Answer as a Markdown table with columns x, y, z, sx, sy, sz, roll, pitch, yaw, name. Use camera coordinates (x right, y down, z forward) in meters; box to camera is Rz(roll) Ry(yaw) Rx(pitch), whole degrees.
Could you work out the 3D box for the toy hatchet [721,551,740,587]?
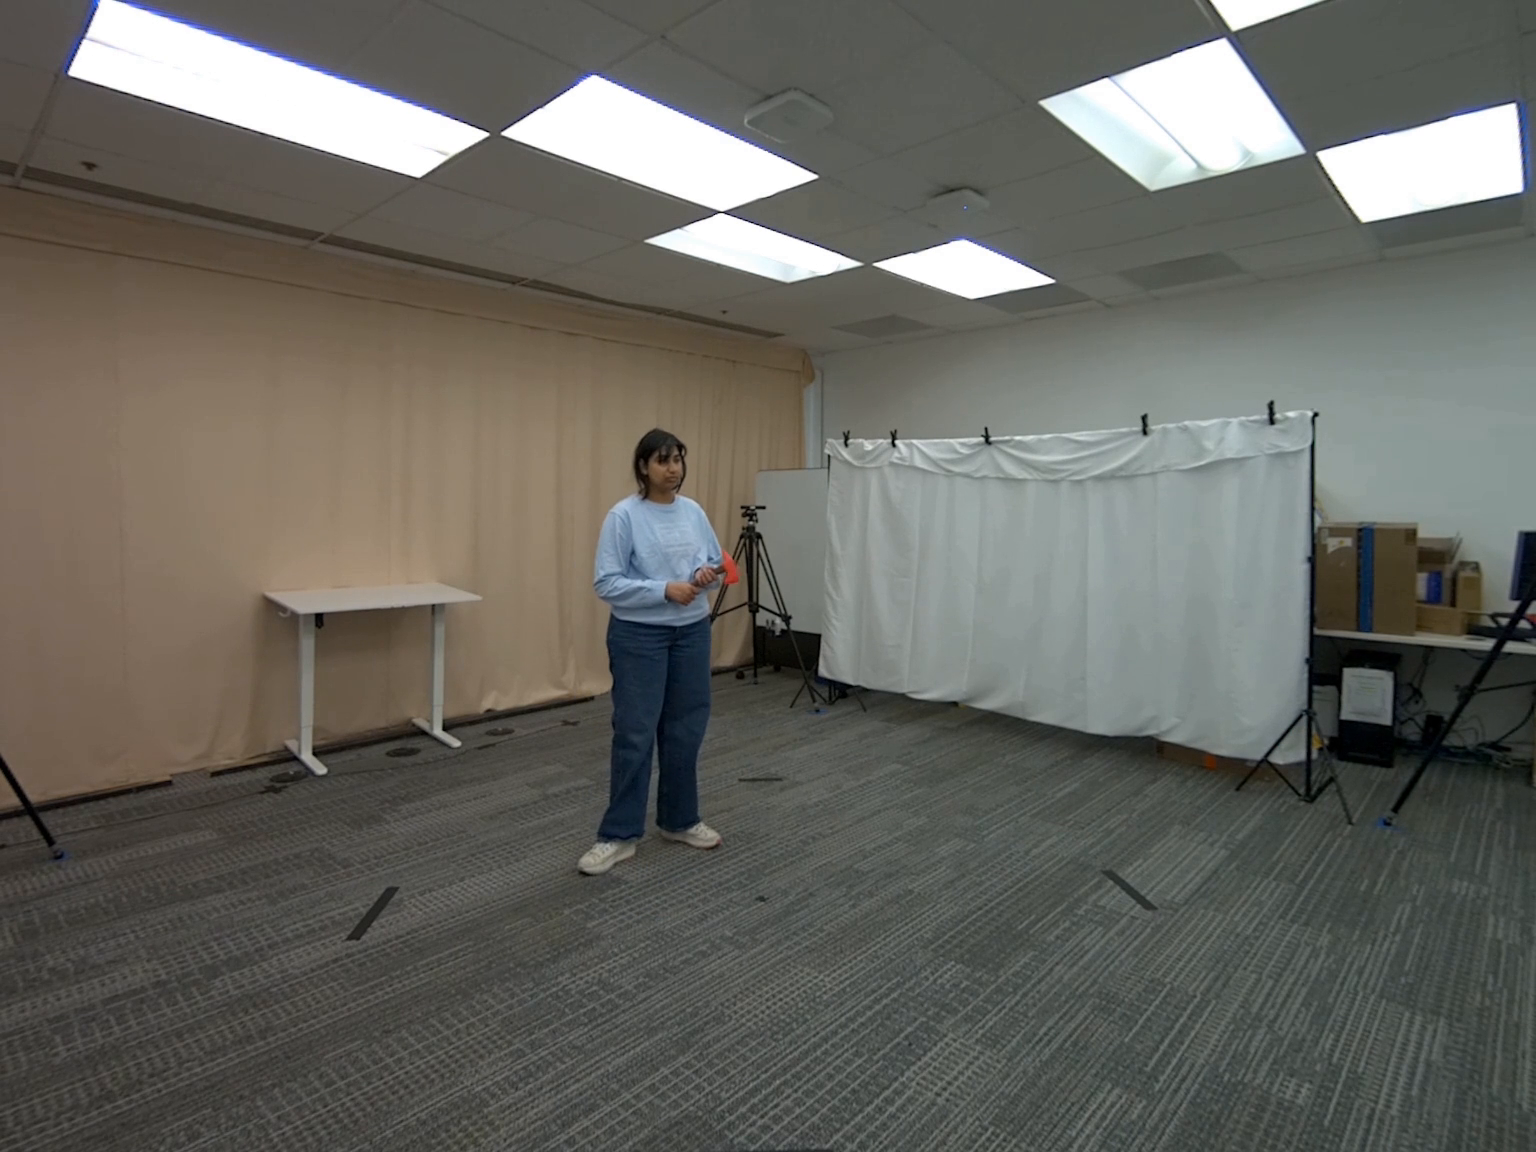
| x | y | z | sx | sy | sz | roll | pitch | yaw | name |
| --- | --- | --- | --- | --- | --- | --- | --- | --- | --- |
| -0.232 | 0.032 | 3.214 | 0.270 | 0.132 | 0.029 | -43 | -6 | 5 | toy hatchet |
